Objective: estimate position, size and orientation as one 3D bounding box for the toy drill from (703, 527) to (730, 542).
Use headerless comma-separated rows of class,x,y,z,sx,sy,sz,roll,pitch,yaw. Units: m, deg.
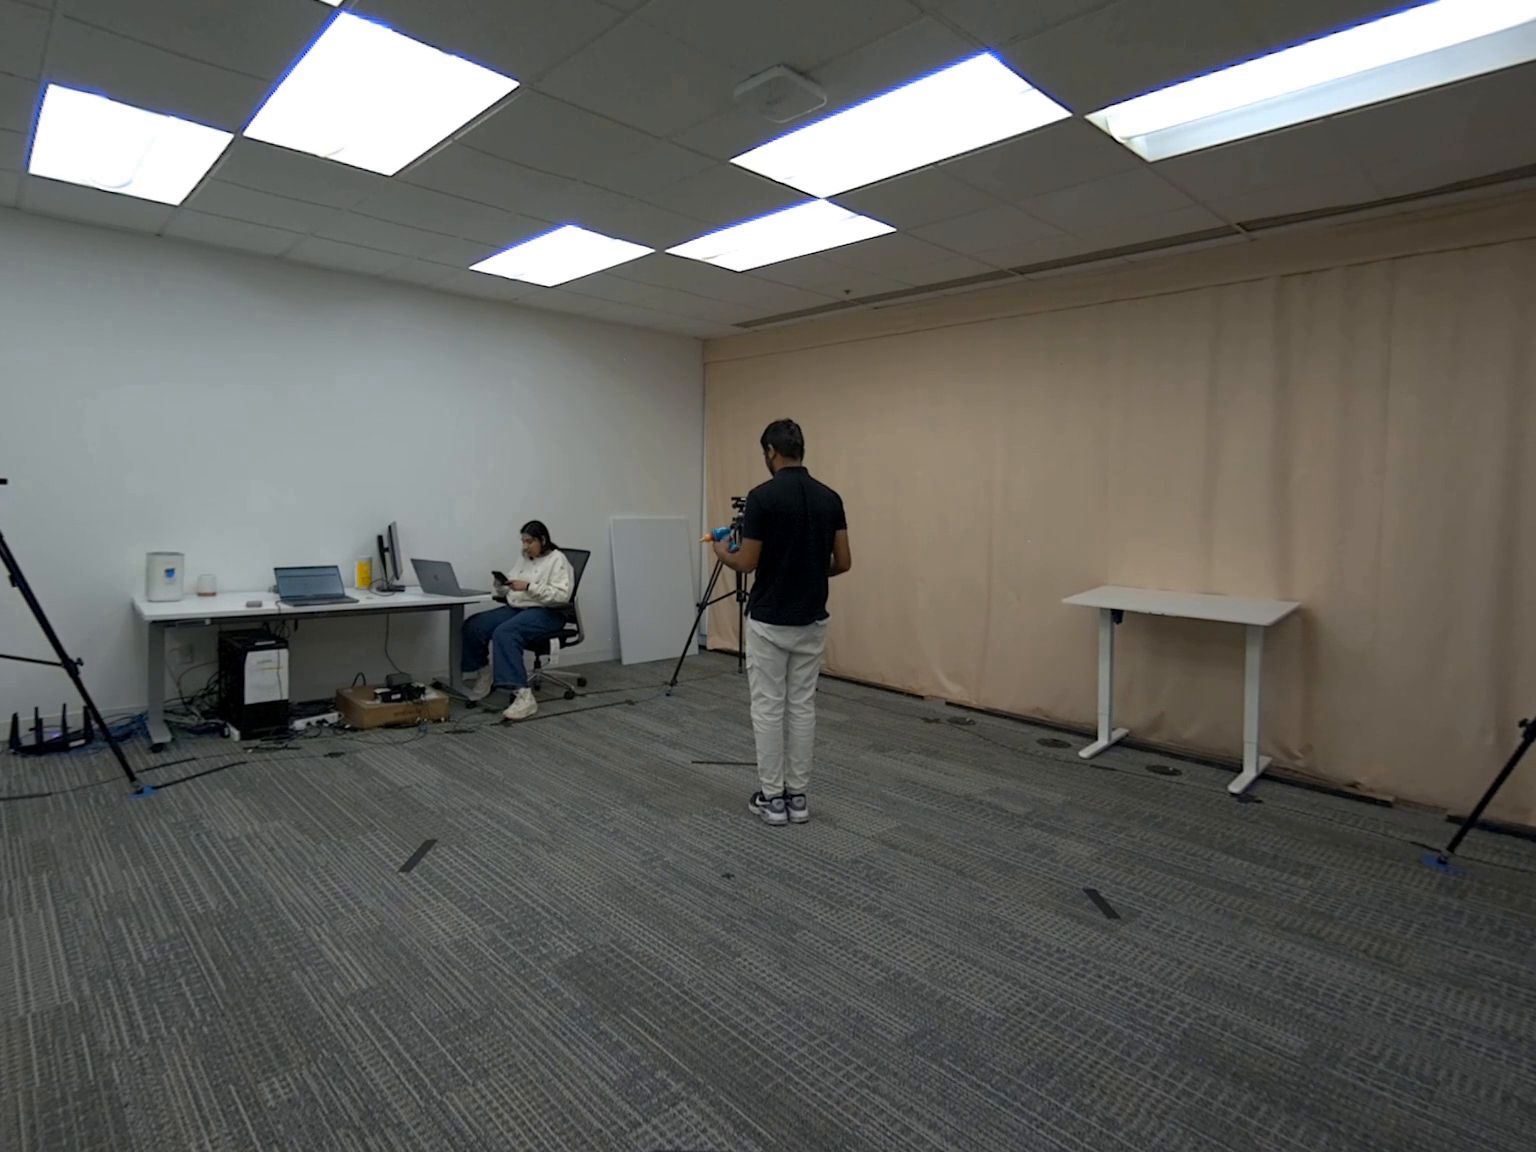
toy drill,-0.215,-0.157,3.828,0.168,0.150,0.060,-21,-32,-25
